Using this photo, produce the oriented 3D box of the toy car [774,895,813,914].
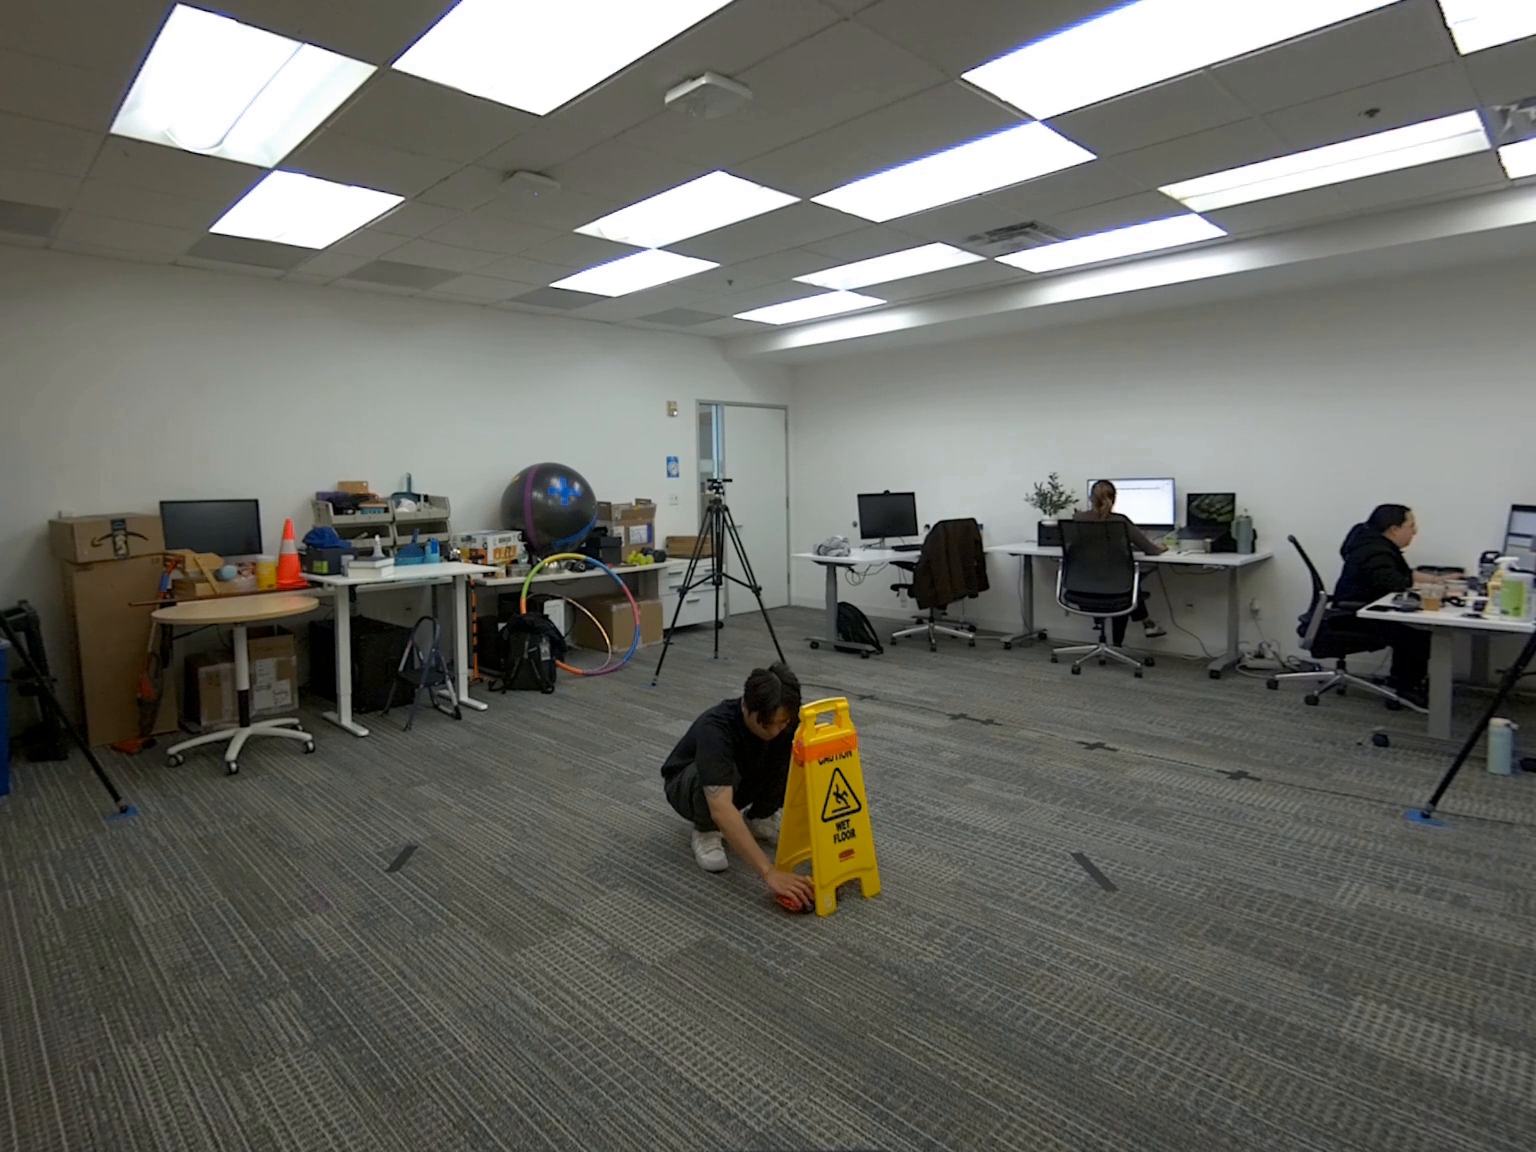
[{"bbox_3d":[0.111,1.054,2.855,0.247,0.083,0.134,4,0,-35],"label":"toy car"}]
